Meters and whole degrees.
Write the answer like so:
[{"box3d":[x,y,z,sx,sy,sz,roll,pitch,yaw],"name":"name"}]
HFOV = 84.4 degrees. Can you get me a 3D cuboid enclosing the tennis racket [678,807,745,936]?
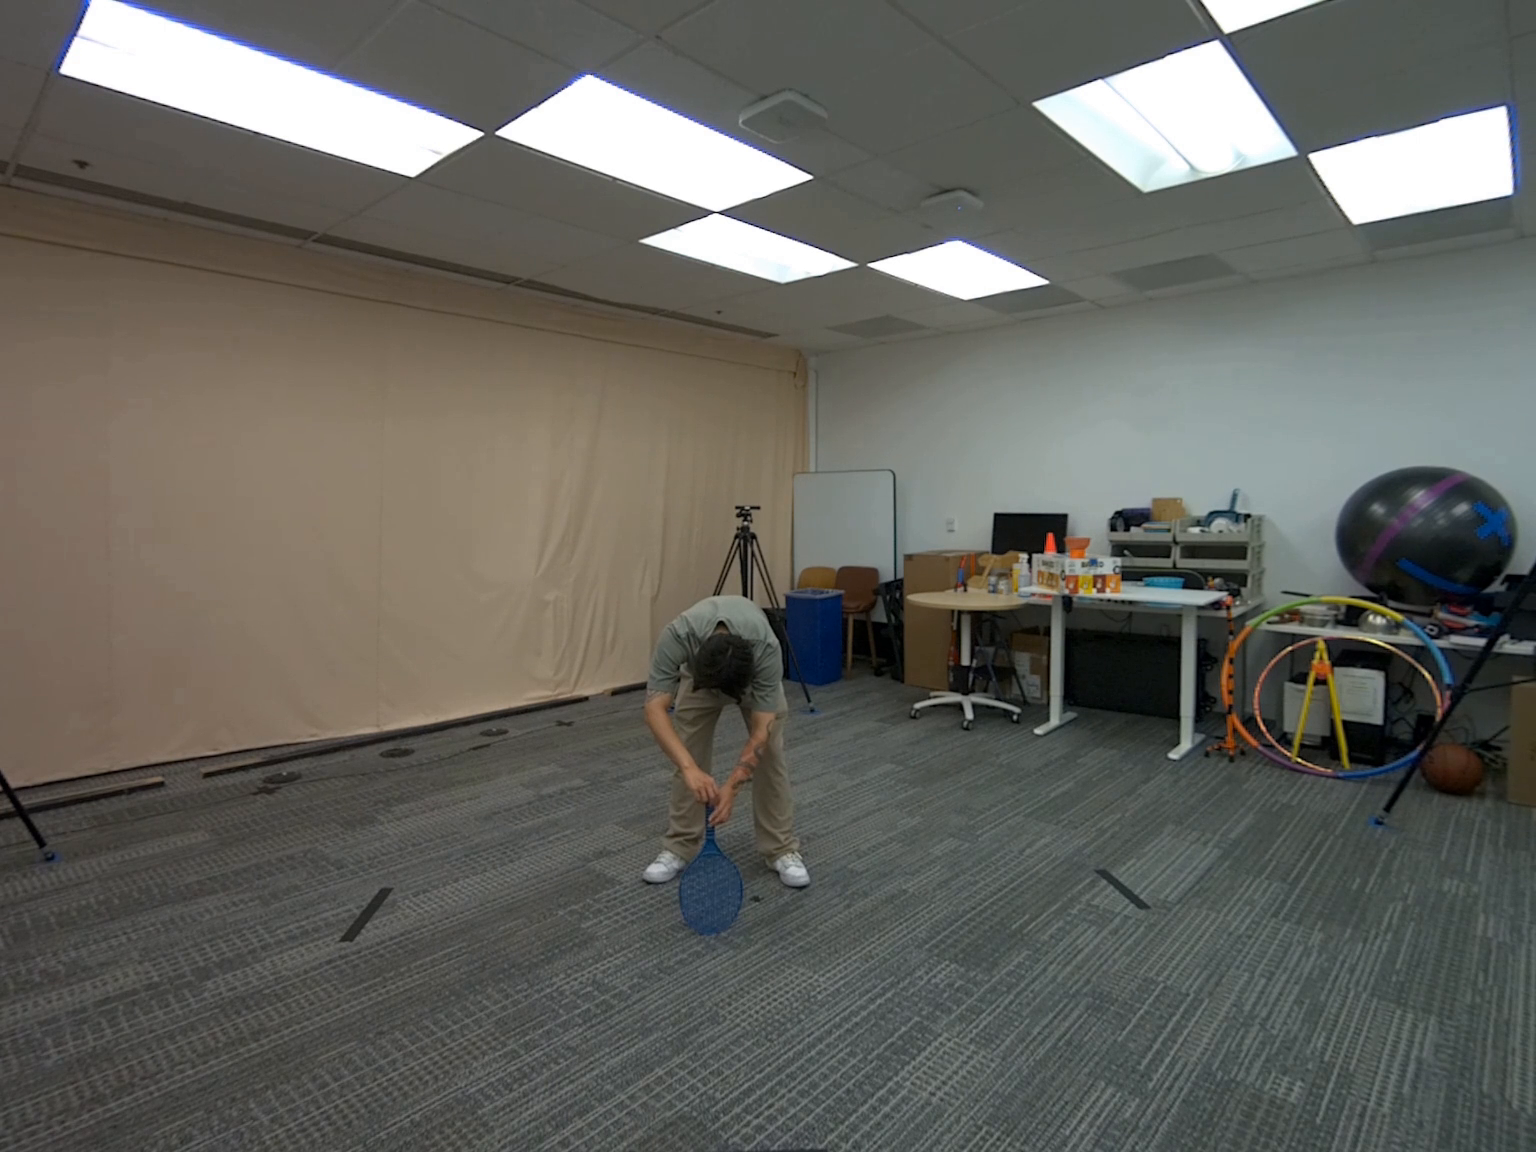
[{"box3d":[-0.192,0.953,2.737,0.212,0.433,0.032,-5,0,-8],"name":"tennis racket"}]
